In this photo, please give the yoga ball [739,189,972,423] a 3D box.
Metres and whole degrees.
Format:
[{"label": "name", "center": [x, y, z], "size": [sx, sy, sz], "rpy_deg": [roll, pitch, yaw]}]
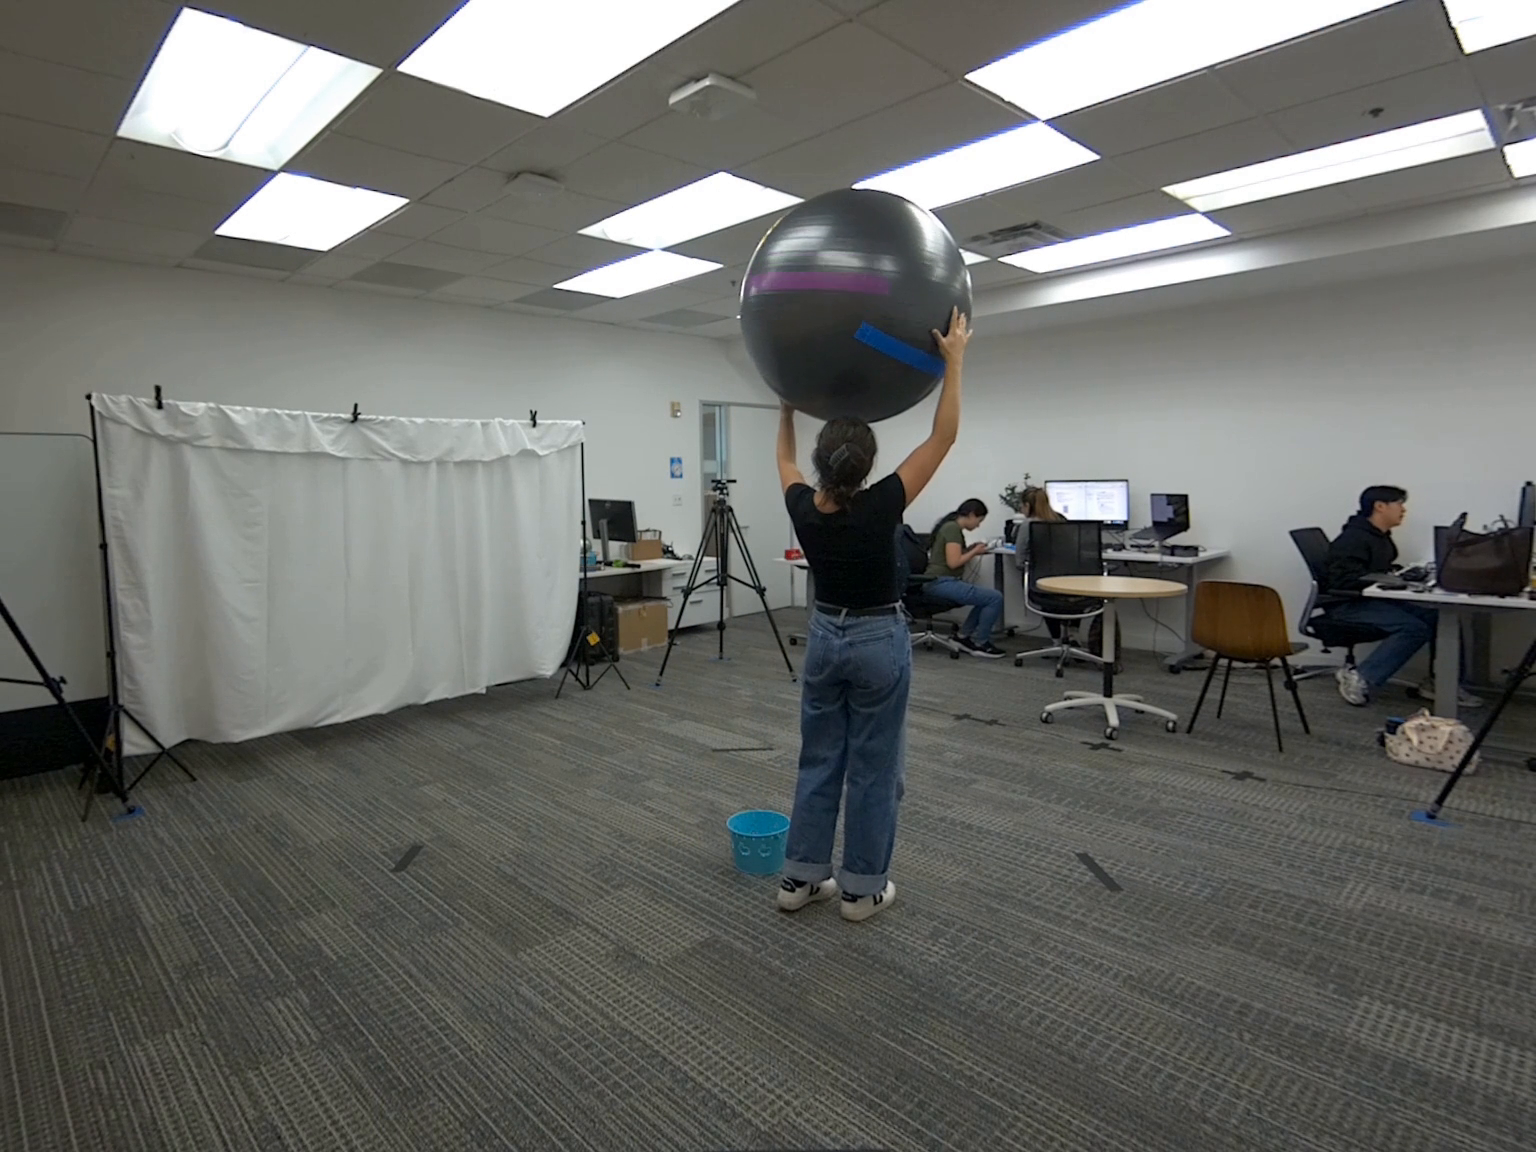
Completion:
[{"label": "yoga ball", "center": [0.289, -0.885, 2.847], "size": [0.757, 0.755, 0.762], "rpy_deg": [-1, 5, -2]}]
